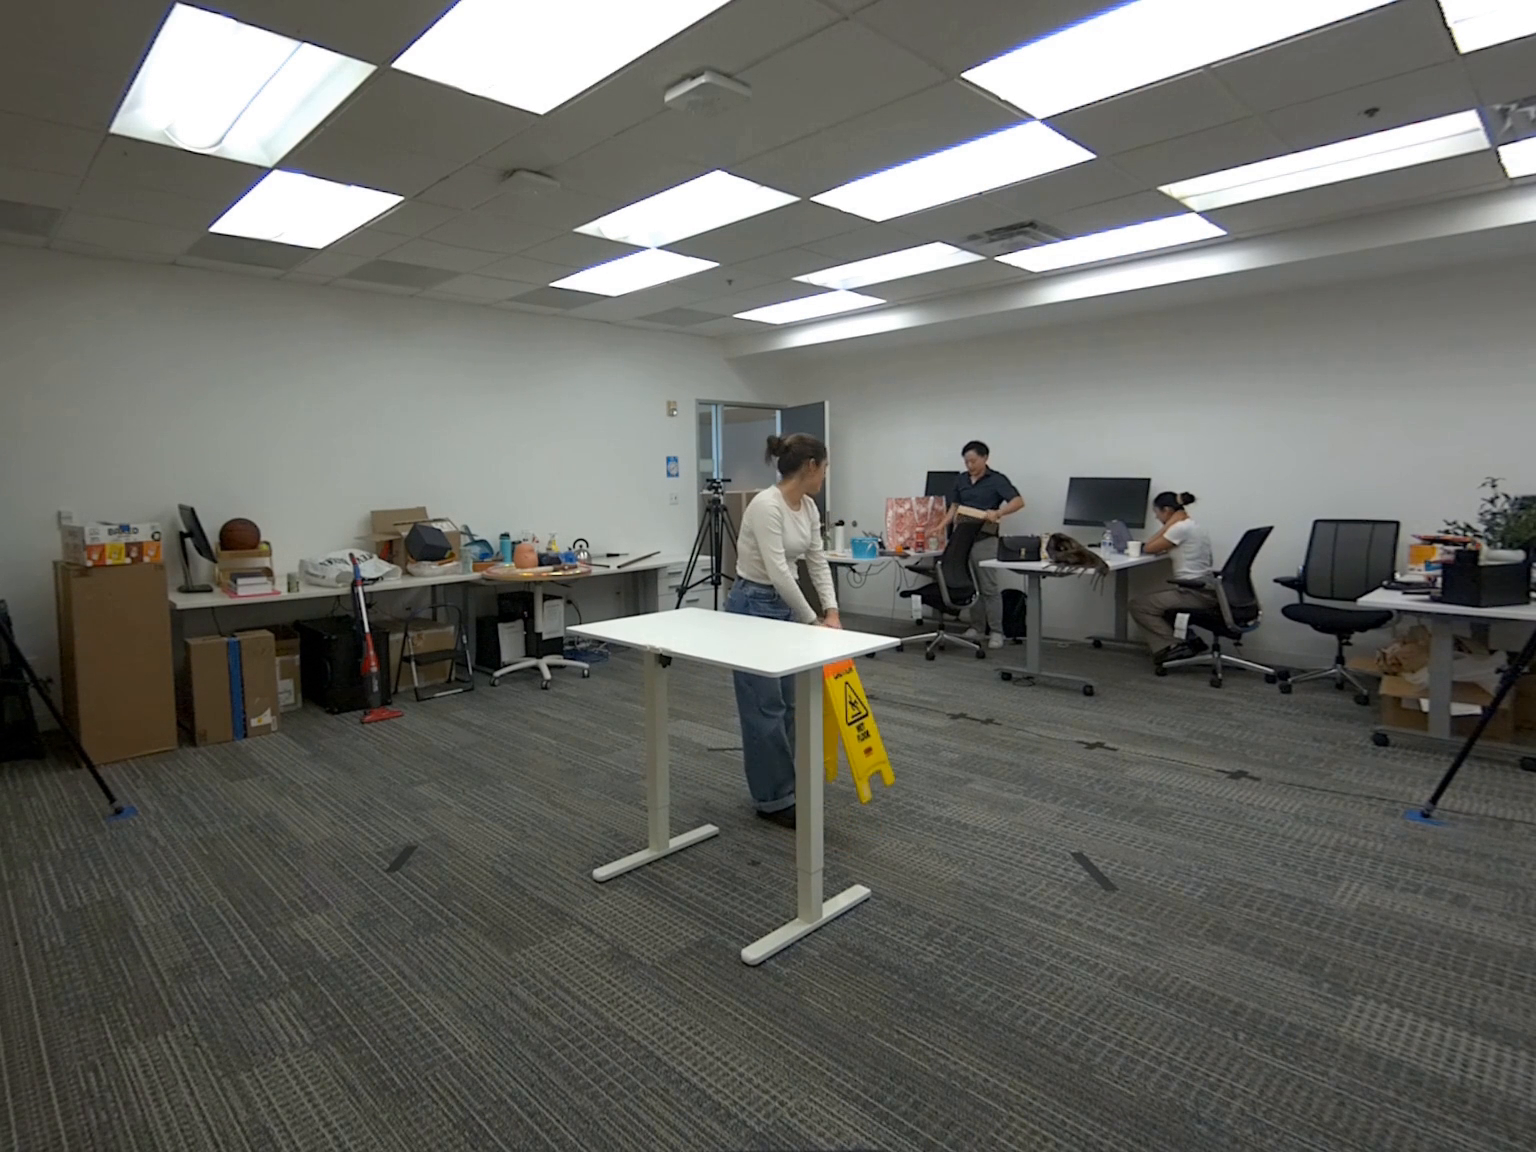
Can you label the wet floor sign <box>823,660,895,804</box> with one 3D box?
[{"bbox_3d":[0.277,0.531,3.403,0.296,0.646,0.275,-9,0,35],"label":"wet floor sign"}]
